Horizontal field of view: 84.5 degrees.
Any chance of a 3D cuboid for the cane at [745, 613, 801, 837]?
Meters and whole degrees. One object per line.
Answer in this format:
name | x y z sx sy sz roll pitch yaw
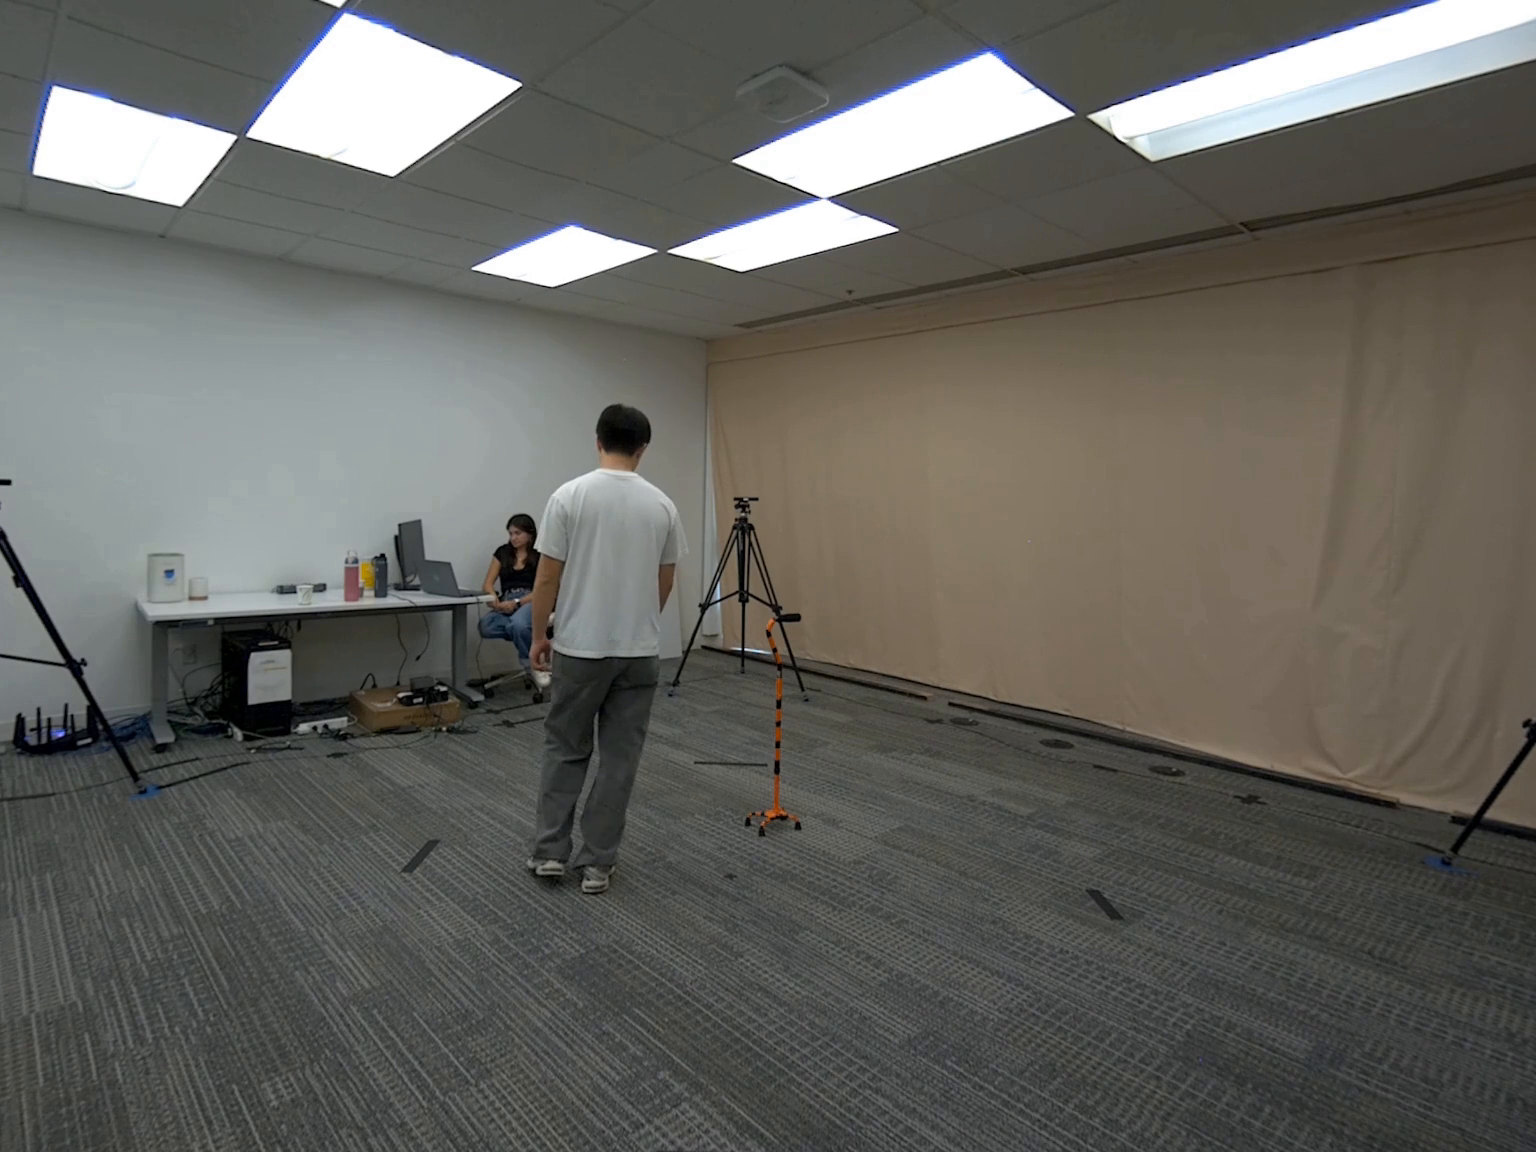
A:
cane | 0.024 0.618 3.565 0.202 0.906 0.155 -1 4 -30
